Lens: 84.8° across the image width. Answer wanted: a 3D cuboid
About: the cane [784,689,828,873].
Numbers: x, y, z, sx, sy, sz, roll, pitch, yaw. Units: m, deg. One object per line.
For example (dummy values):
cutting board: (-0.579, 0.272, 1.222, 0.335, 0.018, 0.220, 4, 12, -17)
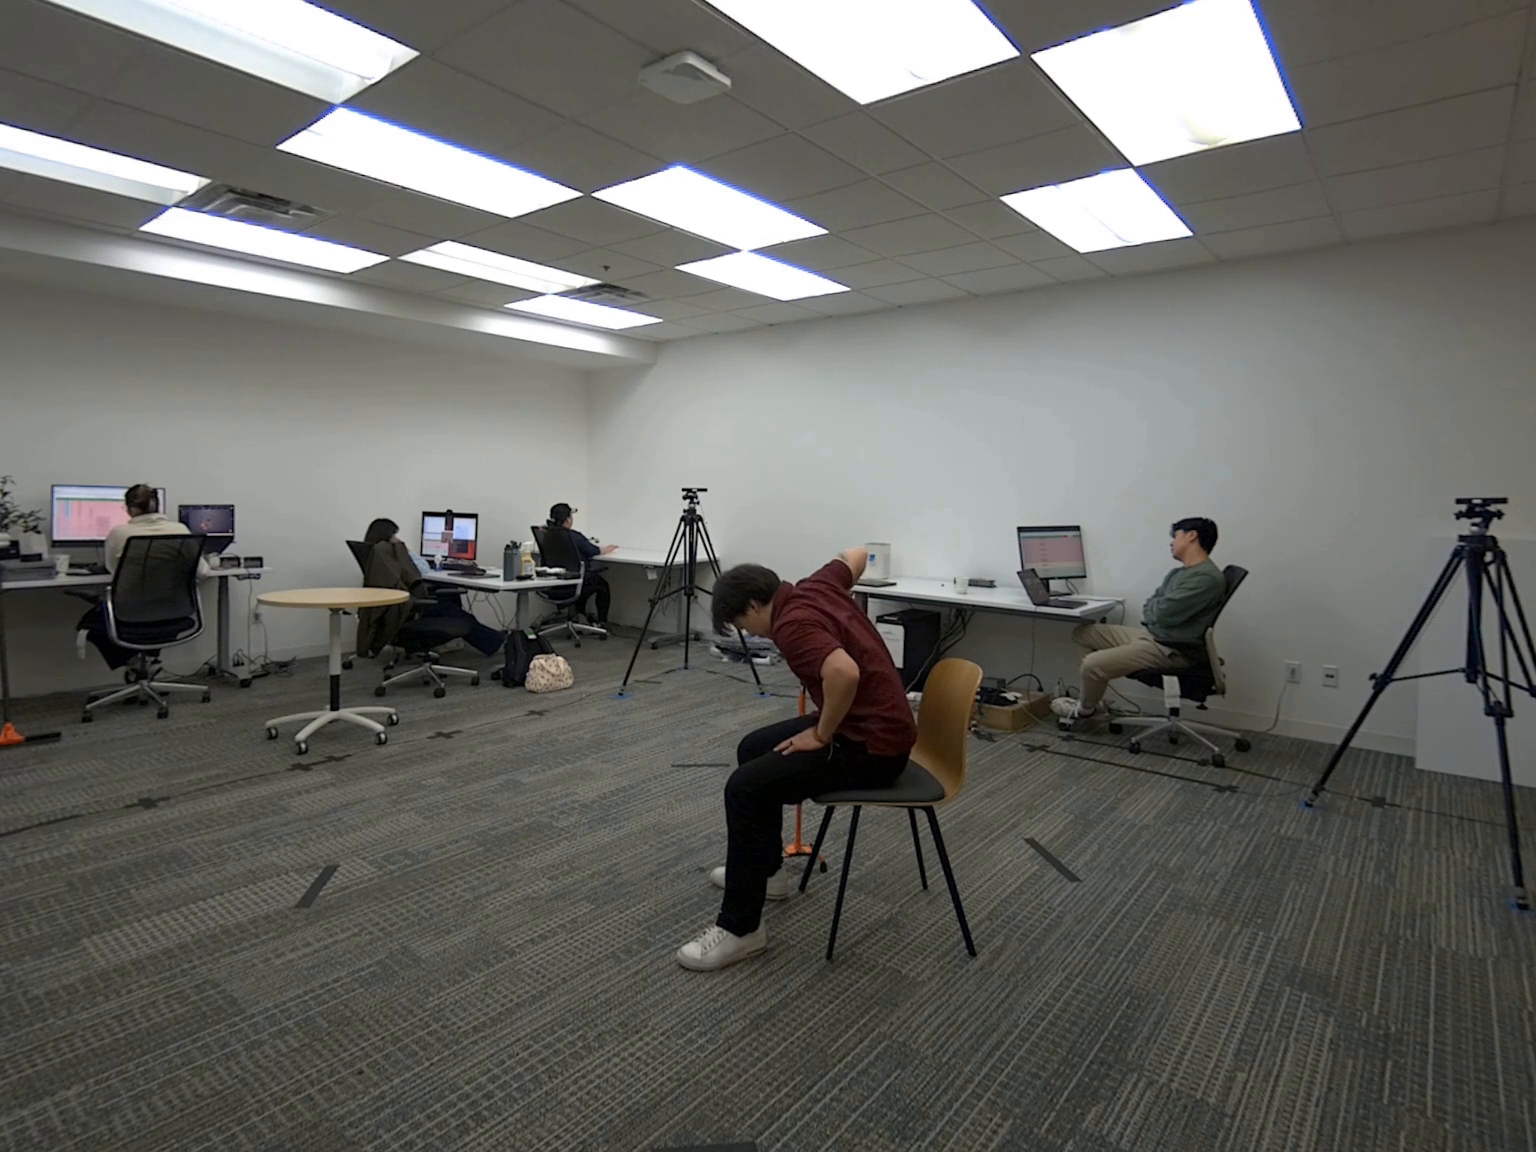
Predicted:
cane: (0.108, 0.617, 3.149, 0.204, 0.907, 0.154, 1, 1, -13)
